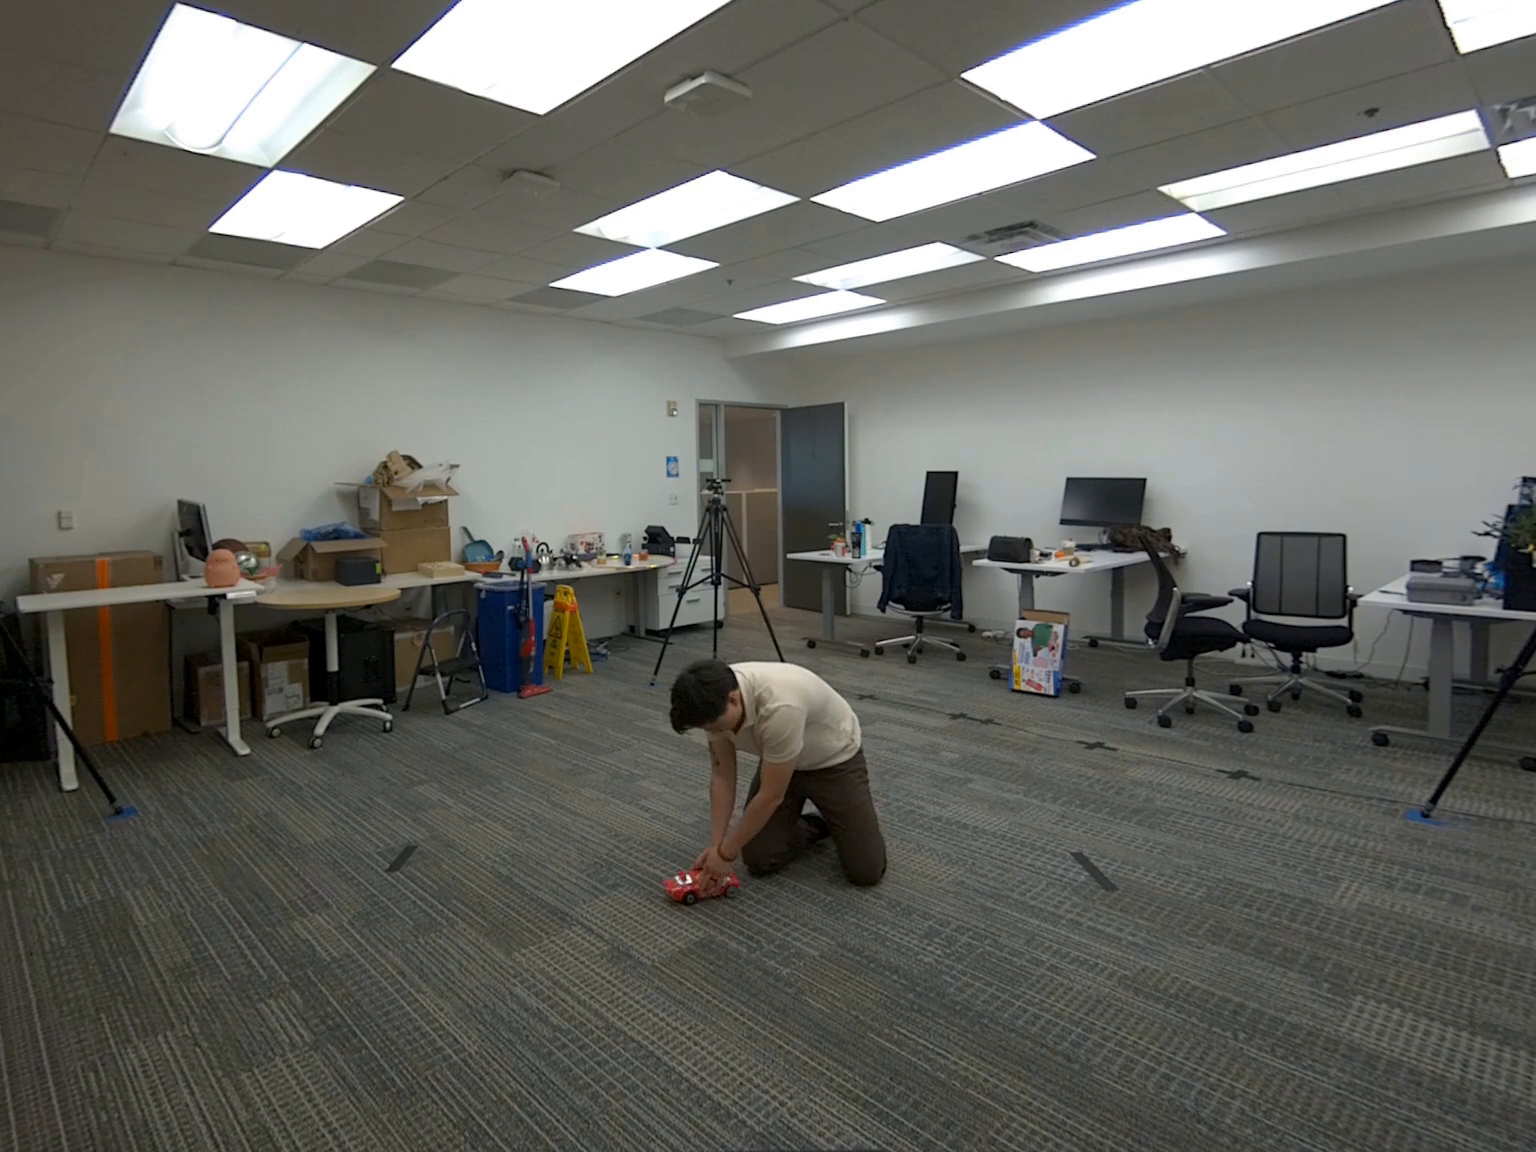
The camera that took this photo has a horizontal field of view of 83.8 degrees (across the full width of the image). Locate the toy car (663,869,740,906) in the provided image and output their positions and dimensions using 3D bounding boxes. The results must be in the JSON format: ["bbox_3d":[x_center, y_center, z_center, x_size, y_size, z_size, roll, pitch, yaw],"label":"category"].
[{"bbox_3d":[-0.223,1.045,2.870,0.249,0.083,0.133,9,3,-20],"label":"toy car"}]
